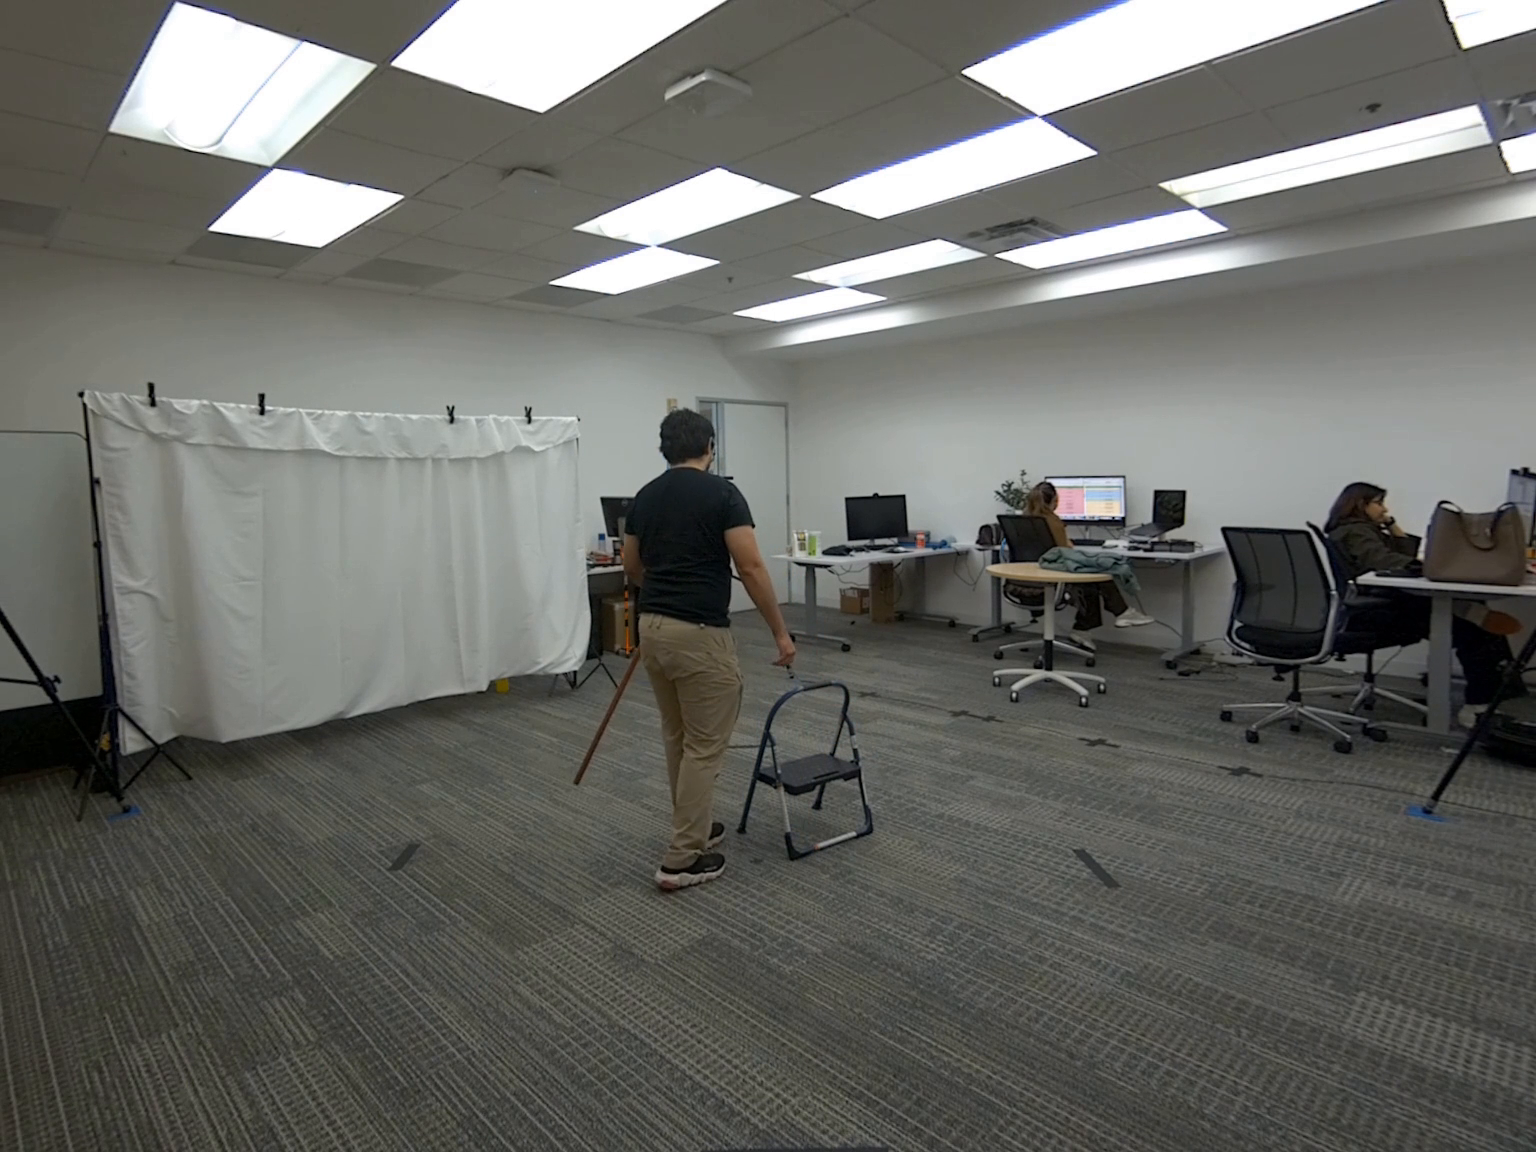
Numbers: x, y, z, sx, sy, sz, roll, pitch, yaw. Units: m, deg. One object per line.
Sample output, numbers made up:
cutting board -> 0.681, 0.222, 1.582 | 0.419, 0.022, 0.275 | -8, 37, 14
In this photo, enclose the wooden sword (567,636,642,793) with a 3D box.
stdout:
wooden sword -> -0.546, 0.361, 3.412 | 0.025, 1.031, 0.049 | 12, -19, 40
